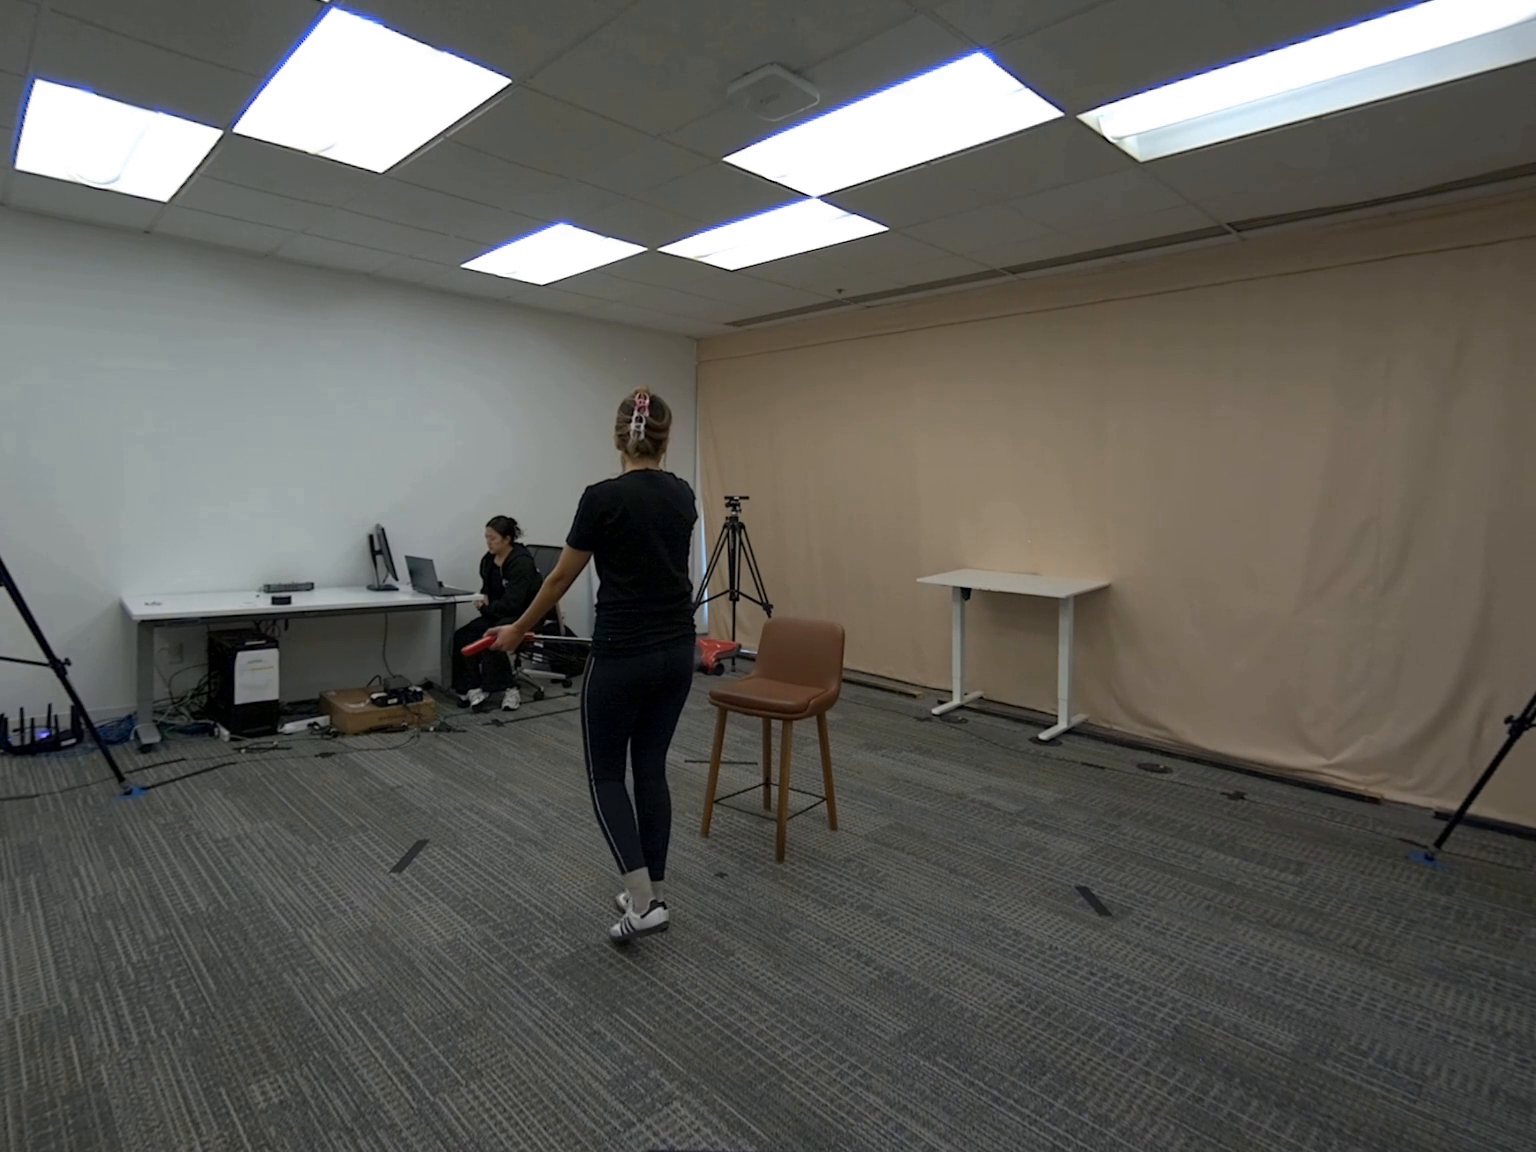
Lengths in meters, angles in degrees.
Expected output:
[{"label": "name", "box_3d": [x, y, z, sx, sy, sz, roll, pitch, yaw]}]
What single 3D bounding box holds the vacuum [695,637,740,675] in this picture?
[{"label": "vacuum", "box_3d": [-0.598, 0.295, 3.026, 1.023, 0.144, 0.259, 6, -2, -40]}]
